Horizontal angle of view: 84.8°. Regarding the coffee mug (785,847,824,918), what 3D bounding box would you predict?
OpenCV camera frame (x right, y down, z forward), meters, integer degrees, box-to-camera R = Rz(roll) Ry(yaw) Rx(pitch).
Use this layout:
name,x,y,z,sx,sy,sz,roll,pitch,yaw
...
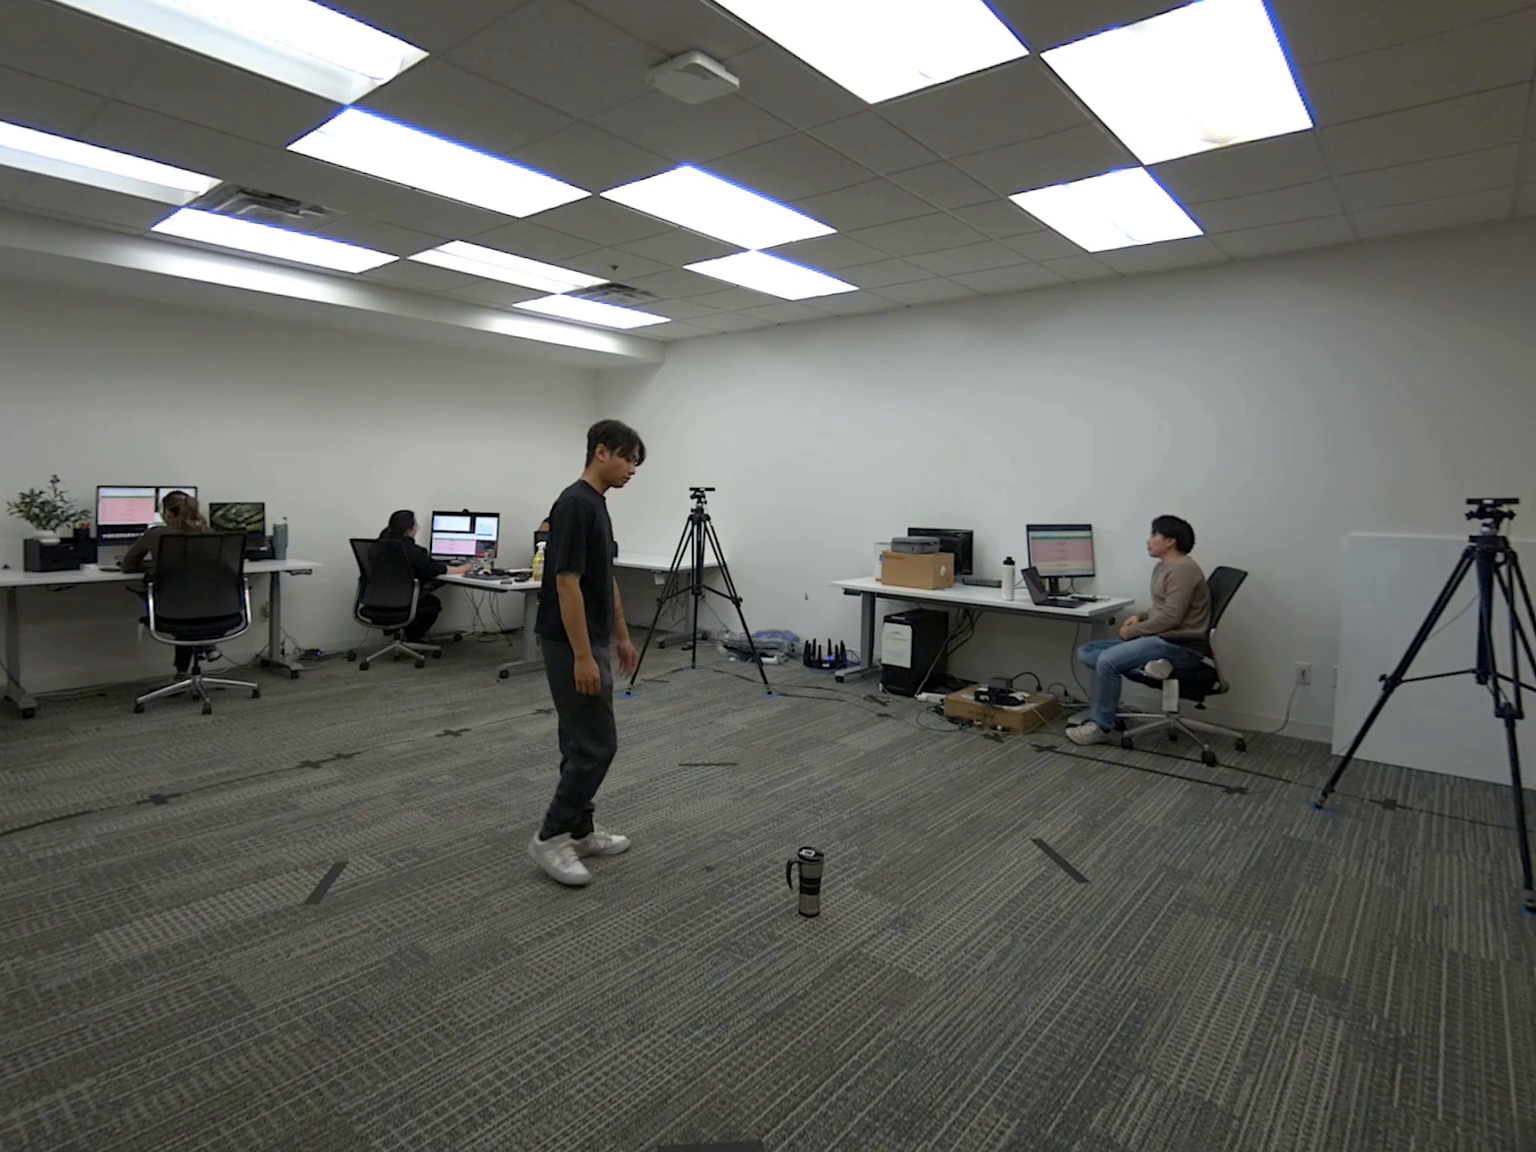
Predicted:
name,x,y,z,sx,sy,sz,roll,pitch,yaw
coffee mug,0.118,1.001,2.810,0.126,0.201,0.085,13,13,43
